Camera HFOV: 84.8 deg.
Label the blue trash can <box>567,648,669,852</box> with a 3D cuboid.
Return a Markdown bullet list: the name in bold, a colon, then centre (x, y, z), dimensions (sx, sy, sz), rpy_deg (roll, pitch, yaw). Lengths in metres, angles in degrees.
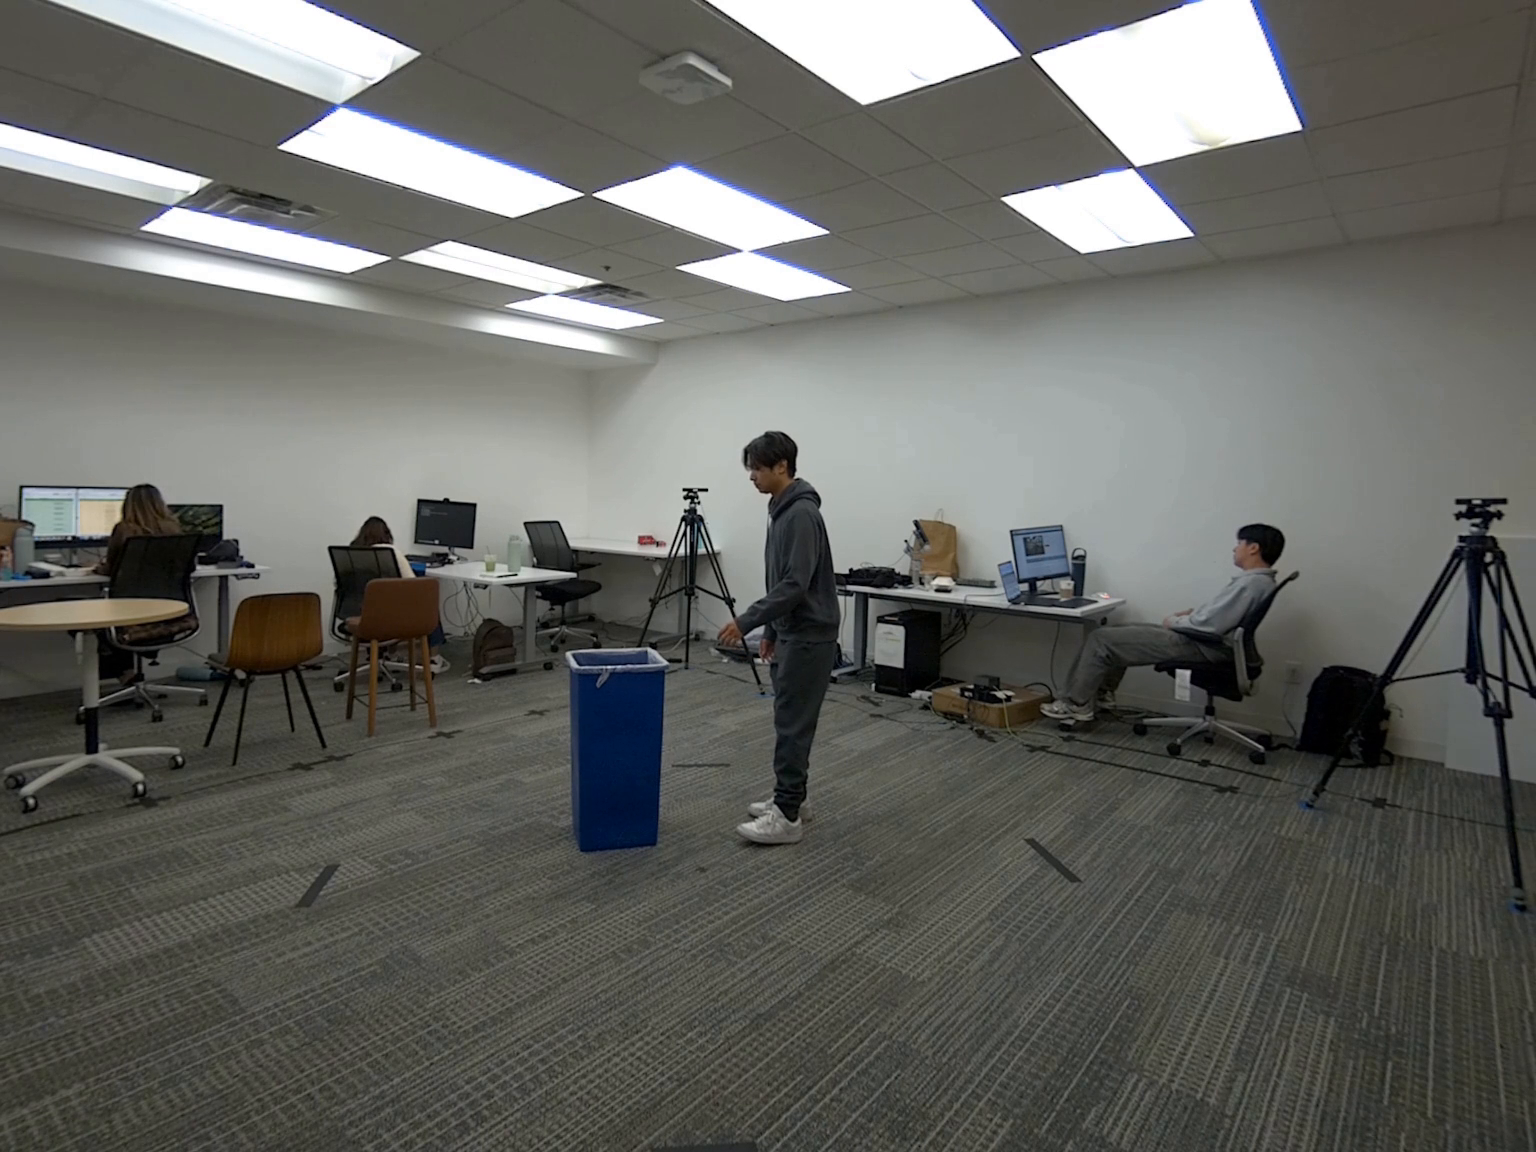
- **blue trash can**: centre (-0.630, 0.675, 3.405), dimensions (0.372, 0.712, 0.382), rpy_deg (1, 3, -17)
